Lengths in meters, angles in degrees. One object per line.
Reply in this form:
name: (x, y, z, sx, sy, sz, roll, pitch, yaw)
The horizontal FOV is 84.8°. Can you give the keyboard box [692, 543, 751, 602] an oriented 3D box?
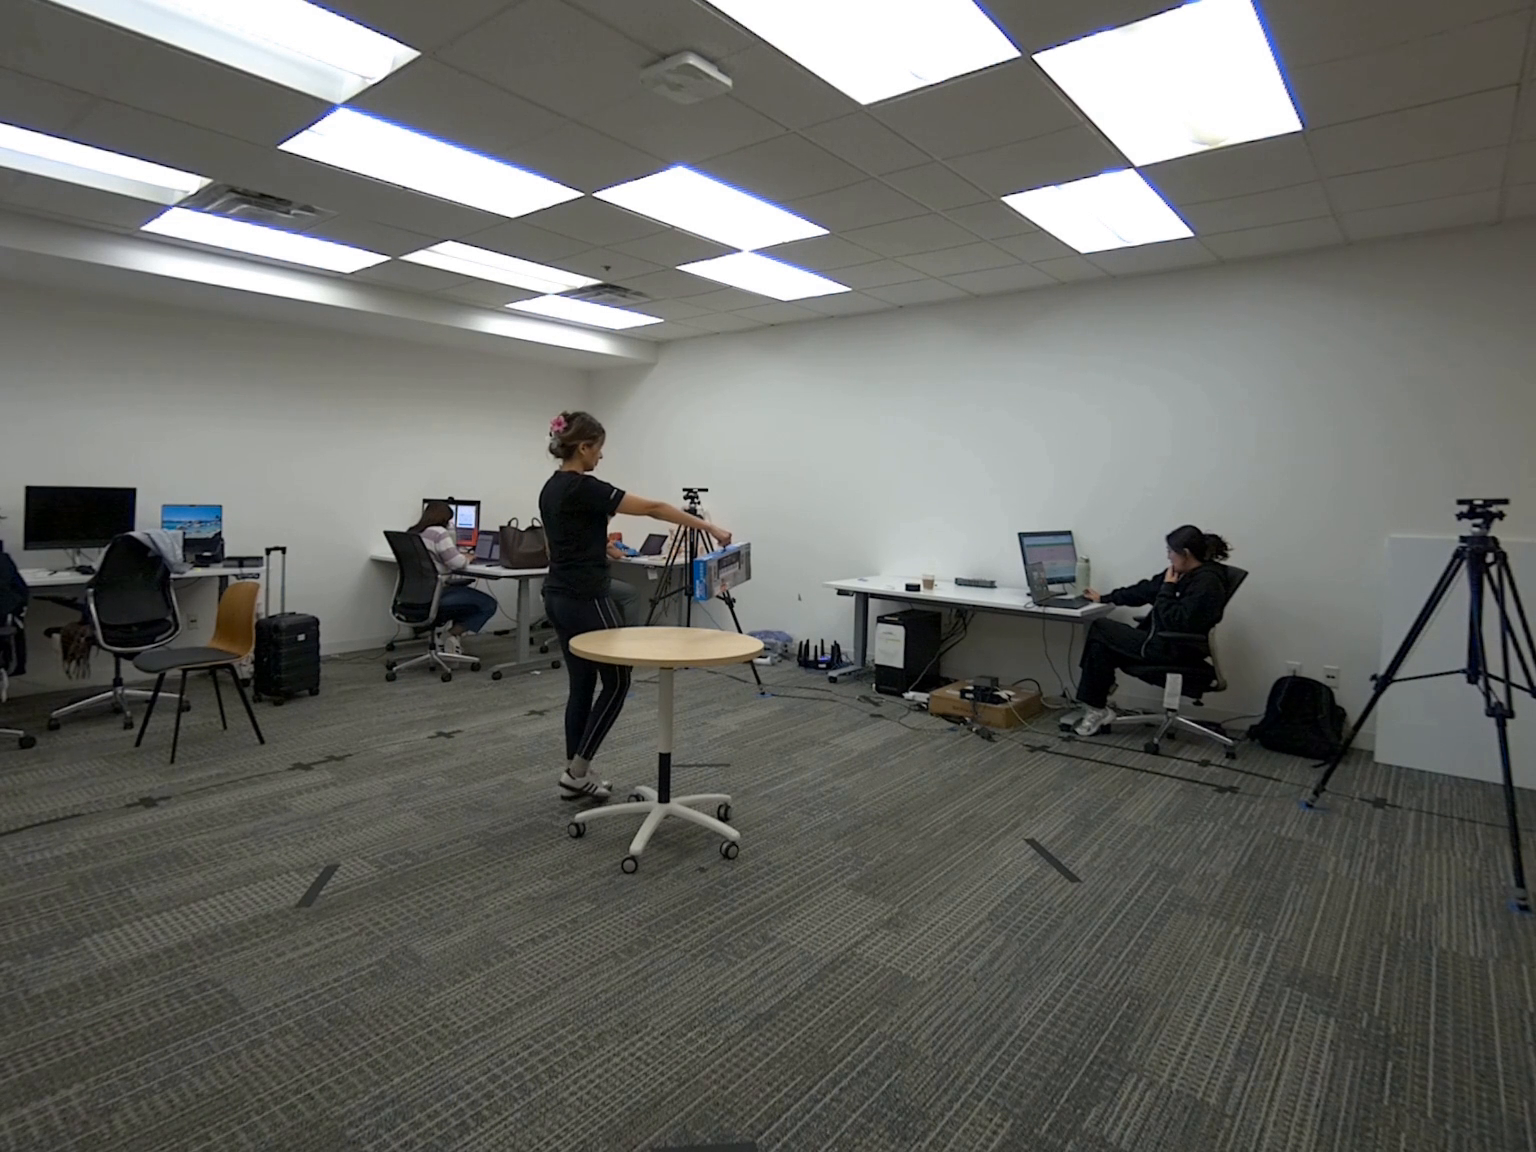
keyboard box: (-0.203, -0.026, 3.704, 0.061, 0.174, 0.430, 3, 13, 25)
